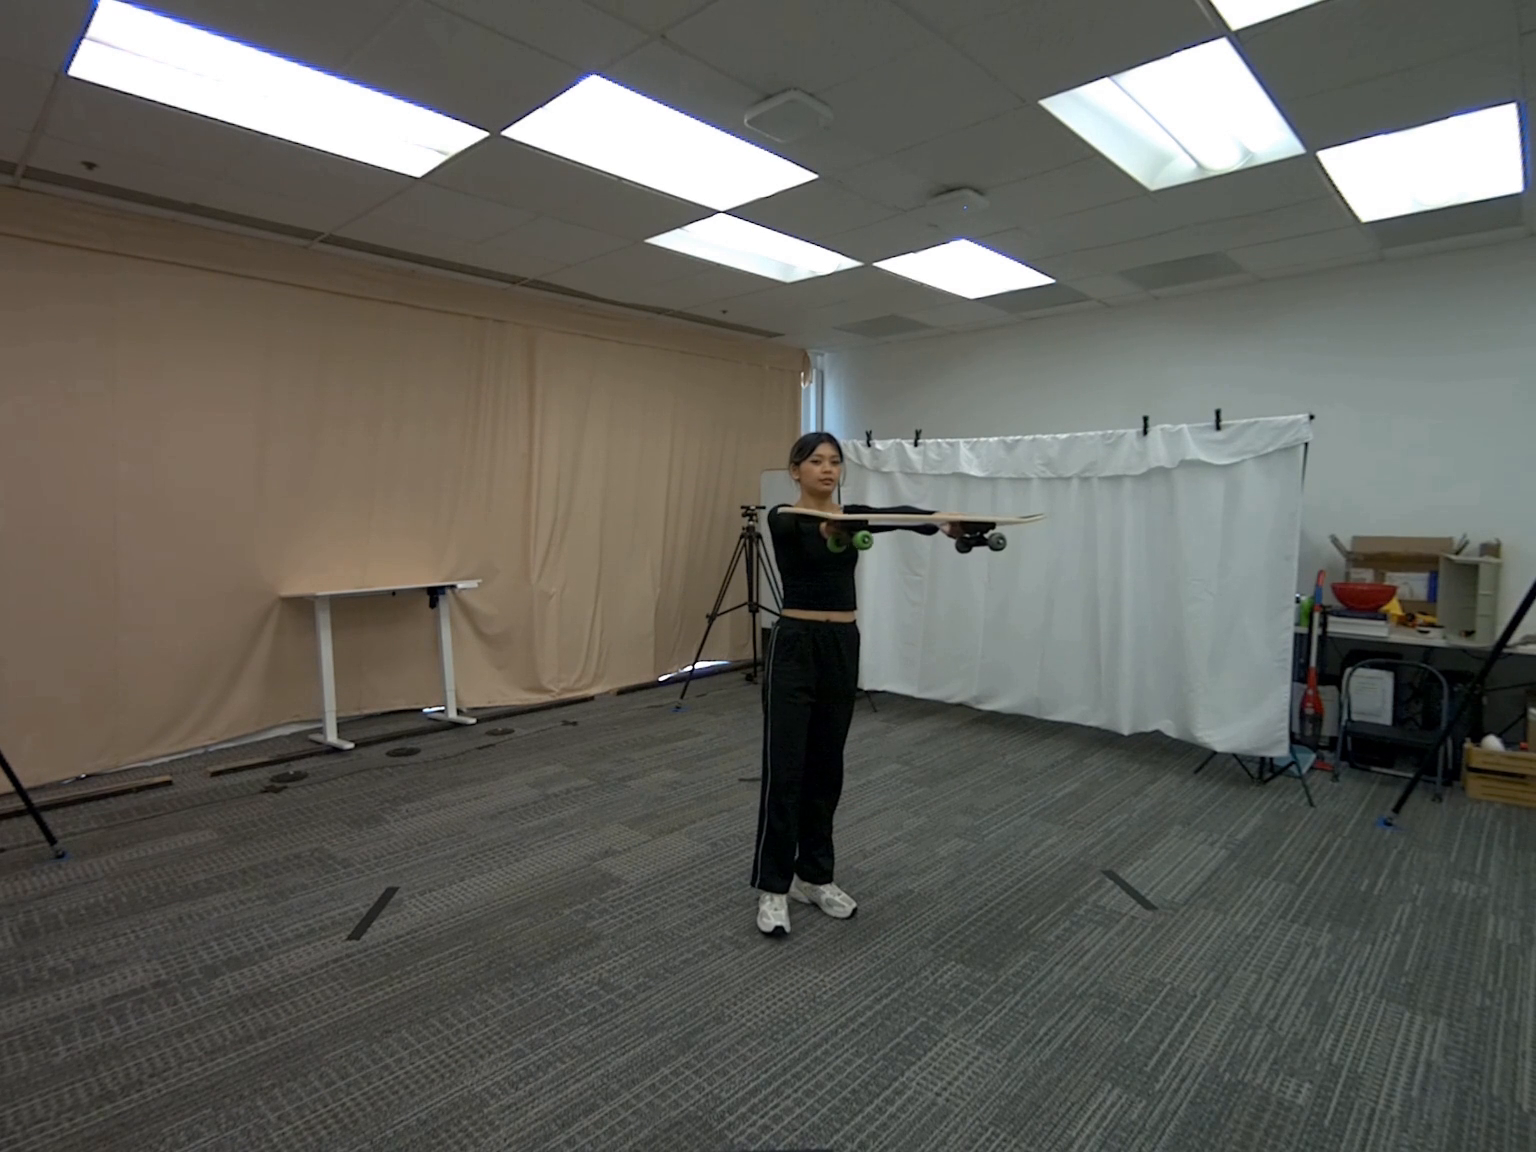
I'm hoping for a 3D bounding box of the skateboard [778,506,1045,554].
[{"bbox_3d":[0.399,-0.118,2.266,0.771,0.110,0.197,0,-1,-18],"label":"skateboard"}]
